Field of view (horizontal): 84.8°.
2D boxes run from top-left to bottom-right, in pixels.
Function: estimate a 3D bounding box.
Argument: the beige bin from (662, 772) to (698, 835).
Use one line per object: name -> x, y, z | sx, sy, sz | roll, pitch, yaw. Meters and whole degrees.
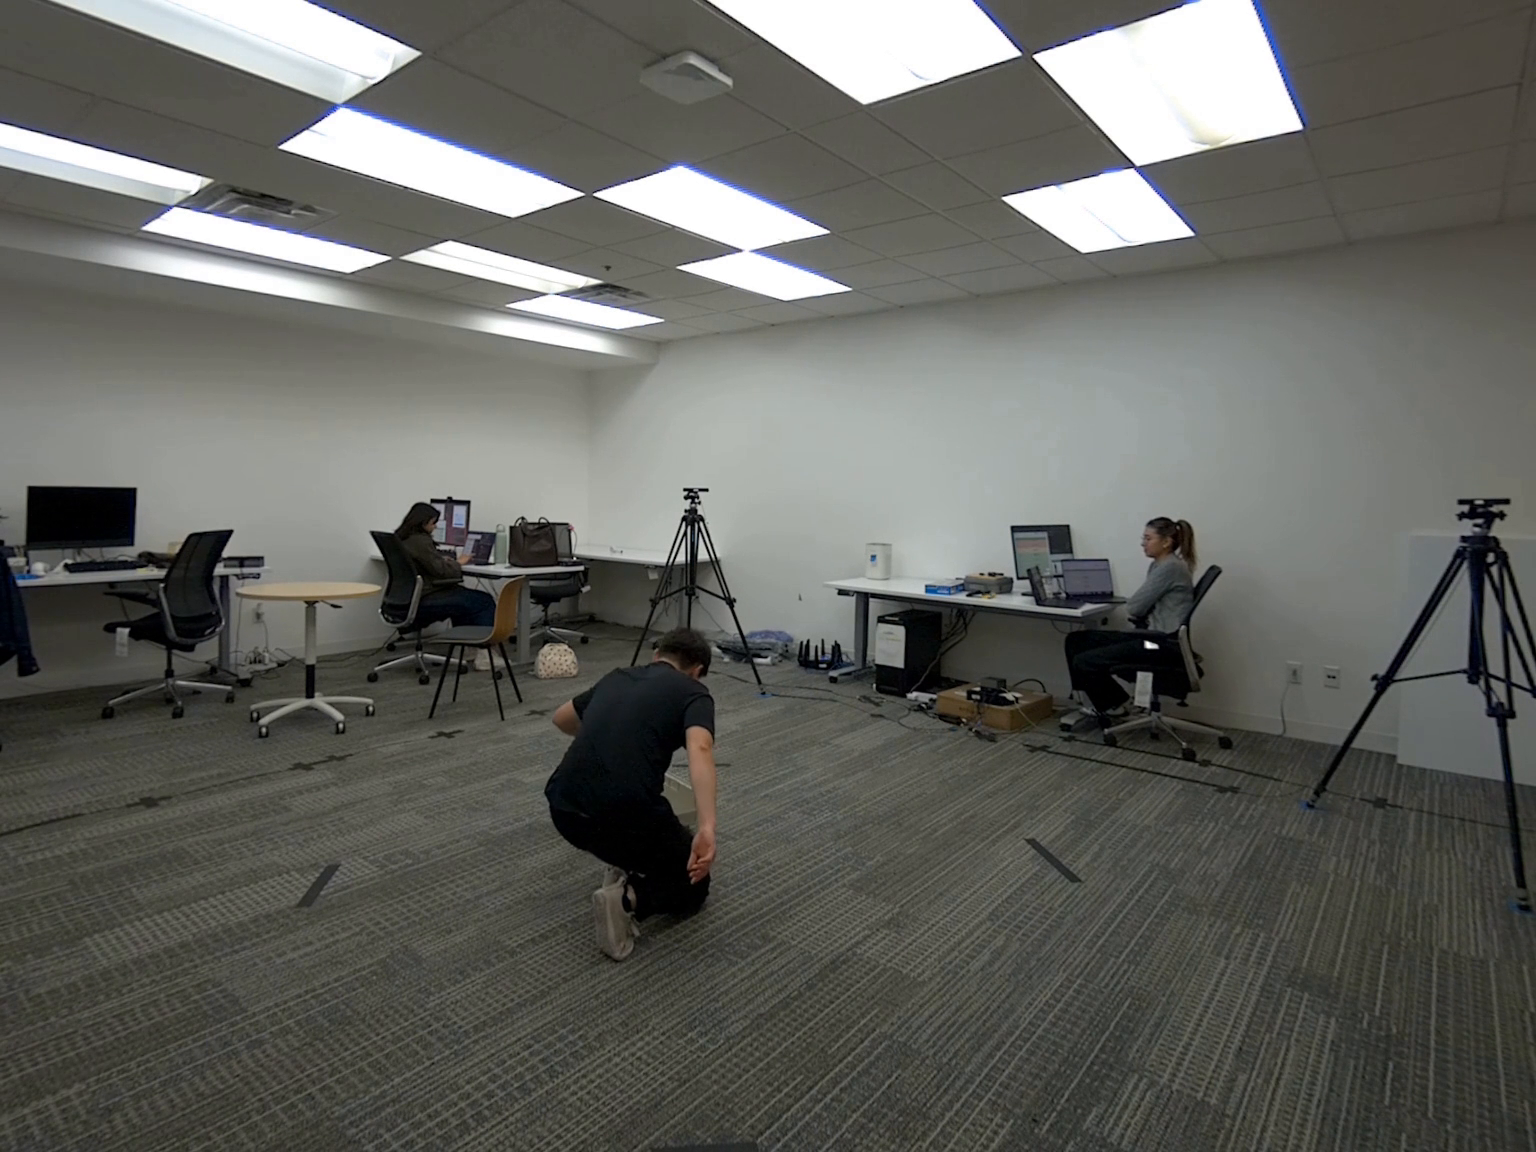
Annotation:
beige bin -> -0.570, 0.934, 3.479 | 0.410, 0.188, 0.390 | -4, 6, -36
